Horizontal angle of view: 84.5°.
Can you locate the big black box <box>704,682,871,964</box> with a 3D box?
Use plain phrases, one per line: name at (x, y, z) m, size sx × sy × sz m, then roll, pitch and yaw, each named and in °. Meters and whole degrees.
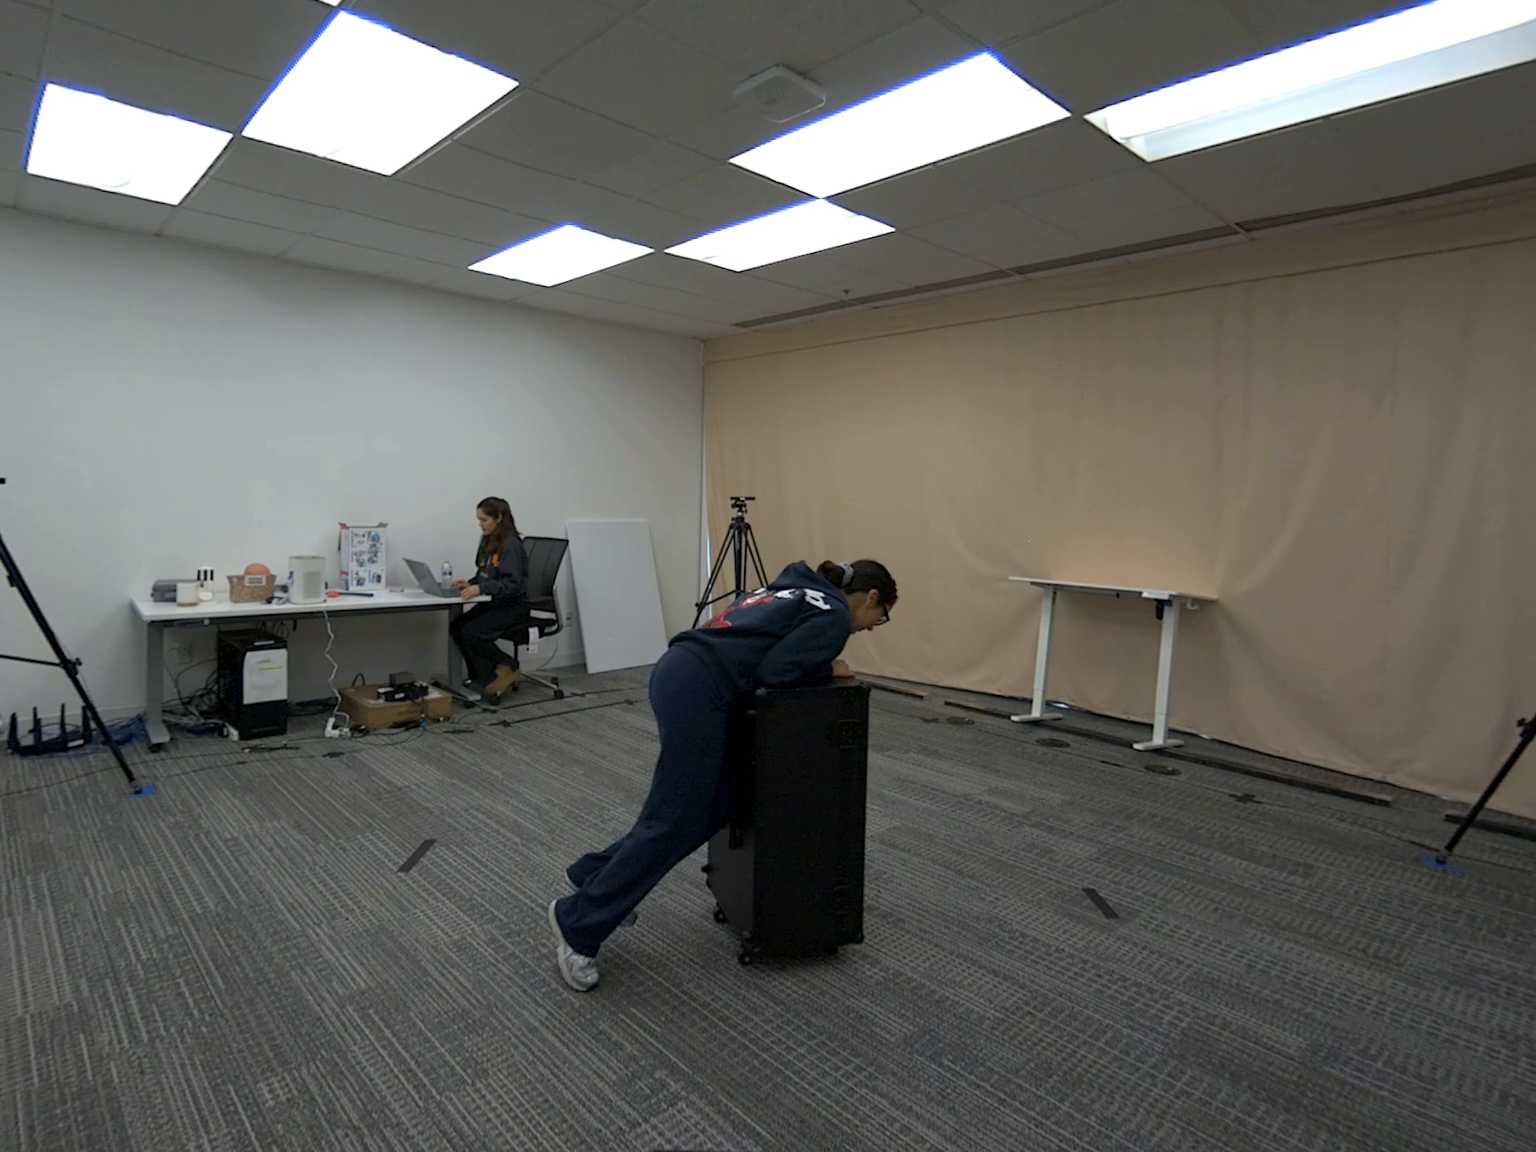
big black box at (0.035, 0.730, 2.664) m, size 0.390 × 0.859 × 0.530 m, roll -1°, pitch 5°, yaw -20°
